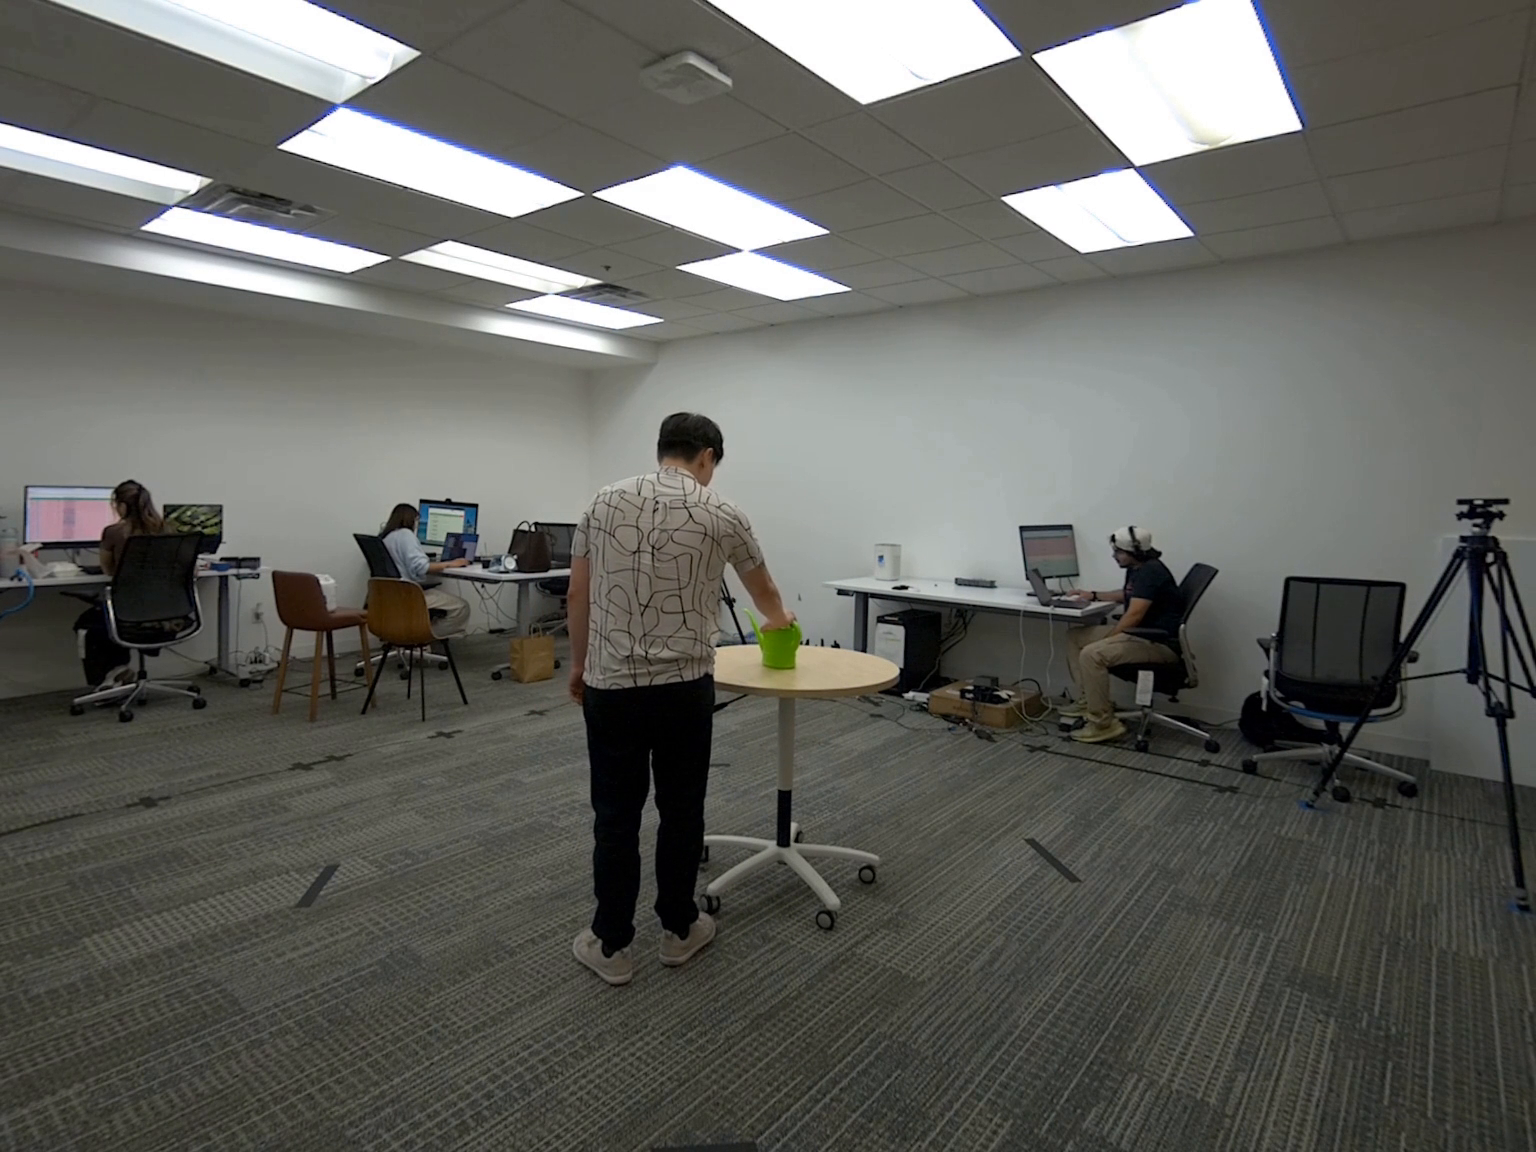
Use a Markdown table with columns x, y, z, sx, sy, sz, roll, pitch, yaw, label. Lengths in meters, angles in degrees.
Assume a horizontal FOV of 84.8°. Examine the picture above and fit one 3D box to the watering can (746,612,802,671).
| x | y | z | sx | sy | sz | roll | pitch | yaw | label |
| --- | --- | --- | --- | --- | --- | --- | --- | --- | --- |
| 0.009 | 0.217 | 2.967 | 0.095 | 0.176 | 0.287 | -2 | 9 | -31 | watering can |
